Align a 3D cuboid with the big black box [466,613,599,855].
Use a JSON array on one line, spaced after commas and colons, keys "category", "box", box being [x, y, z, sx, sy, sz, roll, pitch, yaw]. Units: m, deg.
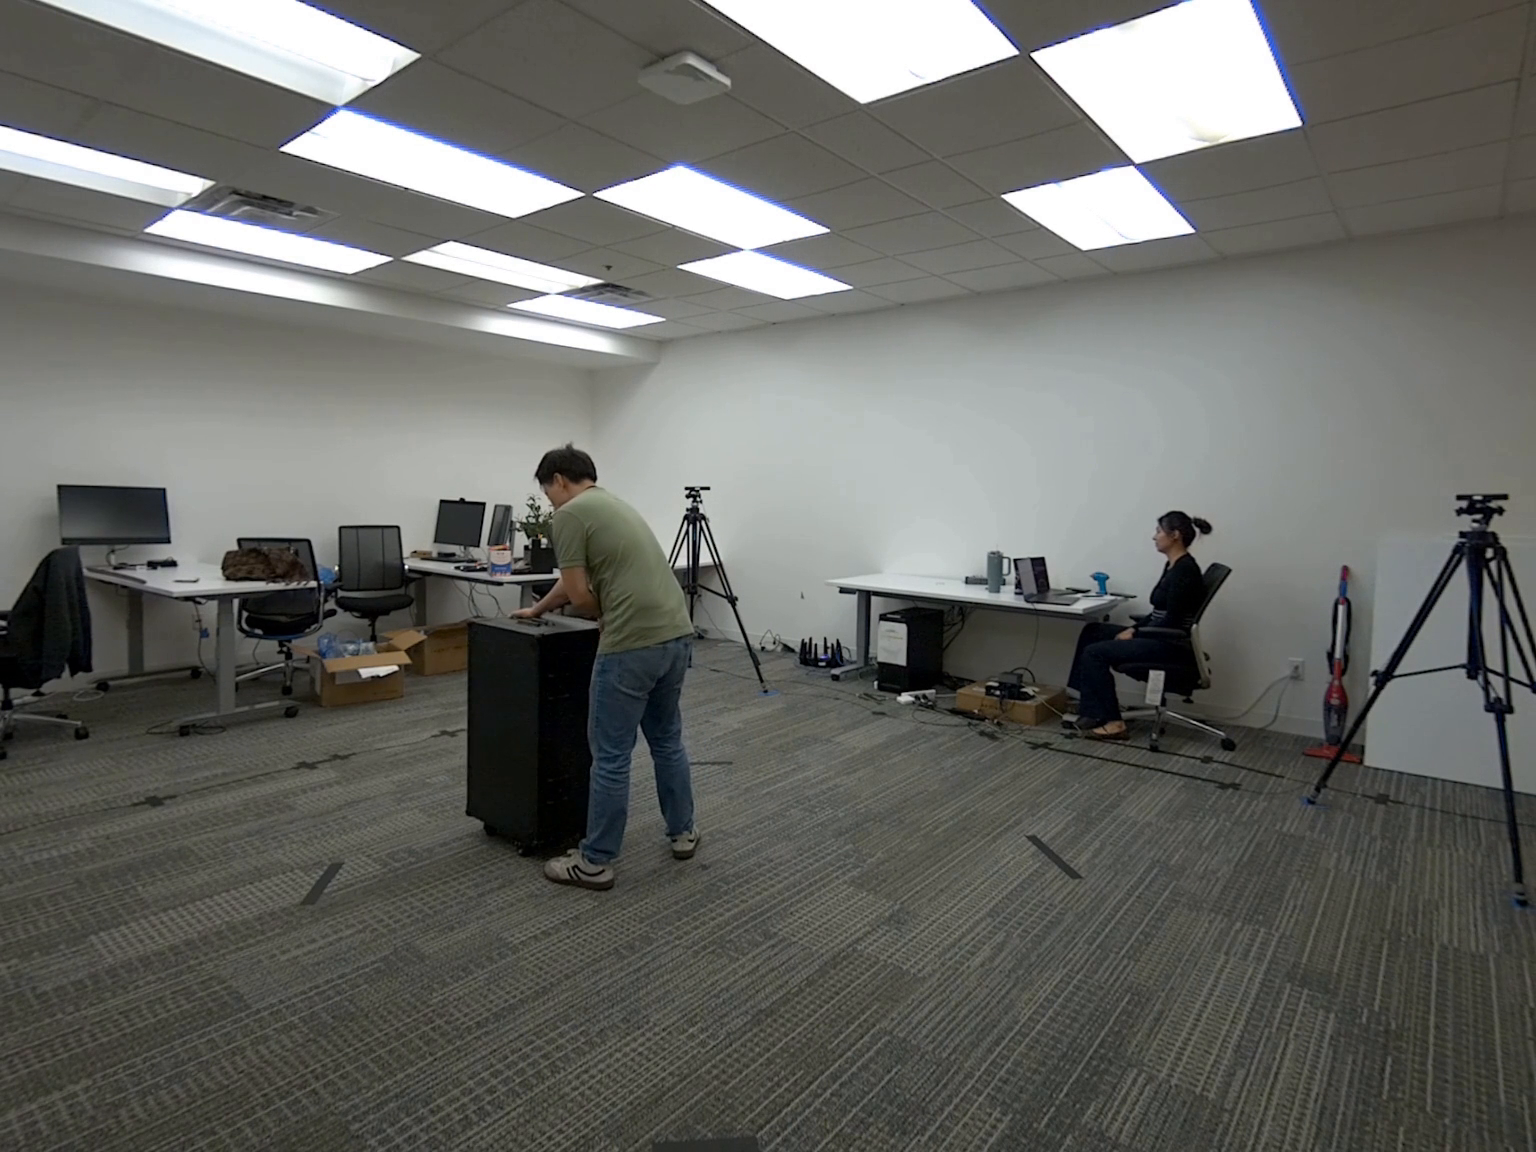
[{"category": "big black box", "box": [-0.913, 0.607, 3.363, 0.539, 0.860, 0.384, 4, 3, 41]}]
